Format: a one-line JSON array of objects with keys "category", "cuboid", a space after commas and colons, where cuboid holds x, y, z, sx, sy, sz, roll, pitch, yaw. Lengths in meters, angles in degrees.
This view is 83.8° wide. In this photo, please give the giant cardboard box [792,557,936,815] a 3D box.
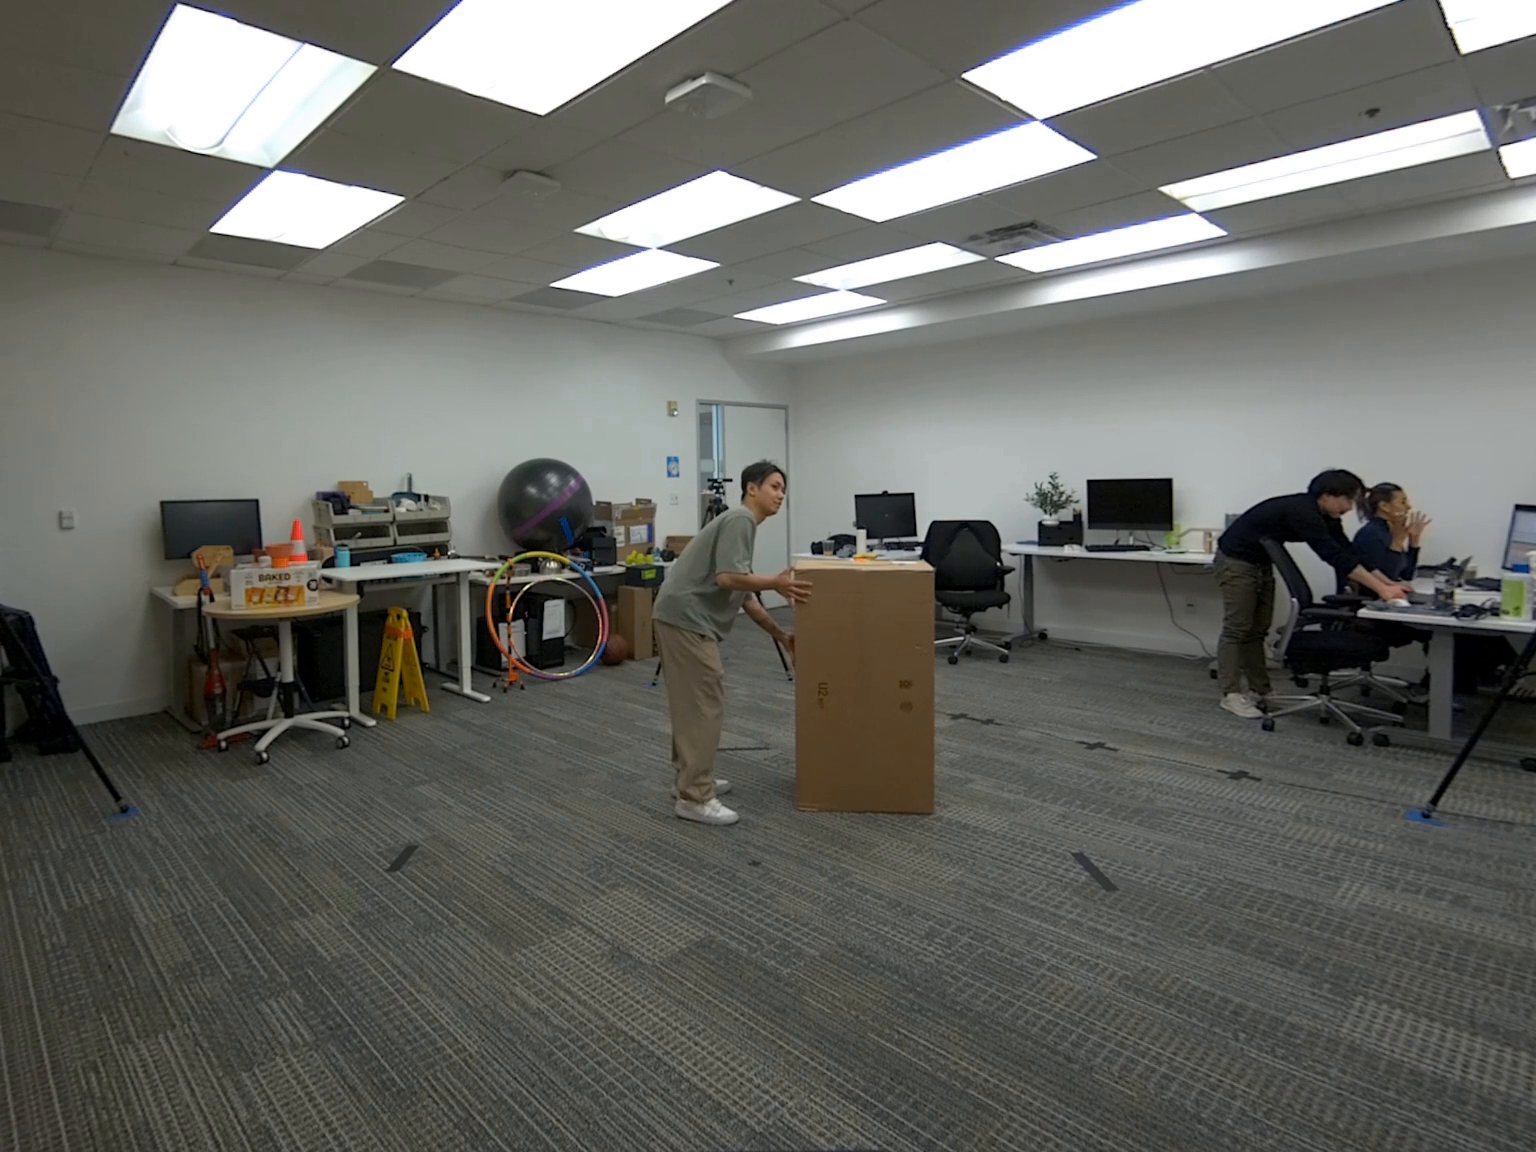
[{"category": "giant cardboard box", "cuboid": [0.411, 0.455, 3.736, 0.582, 1.022, 0.425, 0, 4, 6]}]
